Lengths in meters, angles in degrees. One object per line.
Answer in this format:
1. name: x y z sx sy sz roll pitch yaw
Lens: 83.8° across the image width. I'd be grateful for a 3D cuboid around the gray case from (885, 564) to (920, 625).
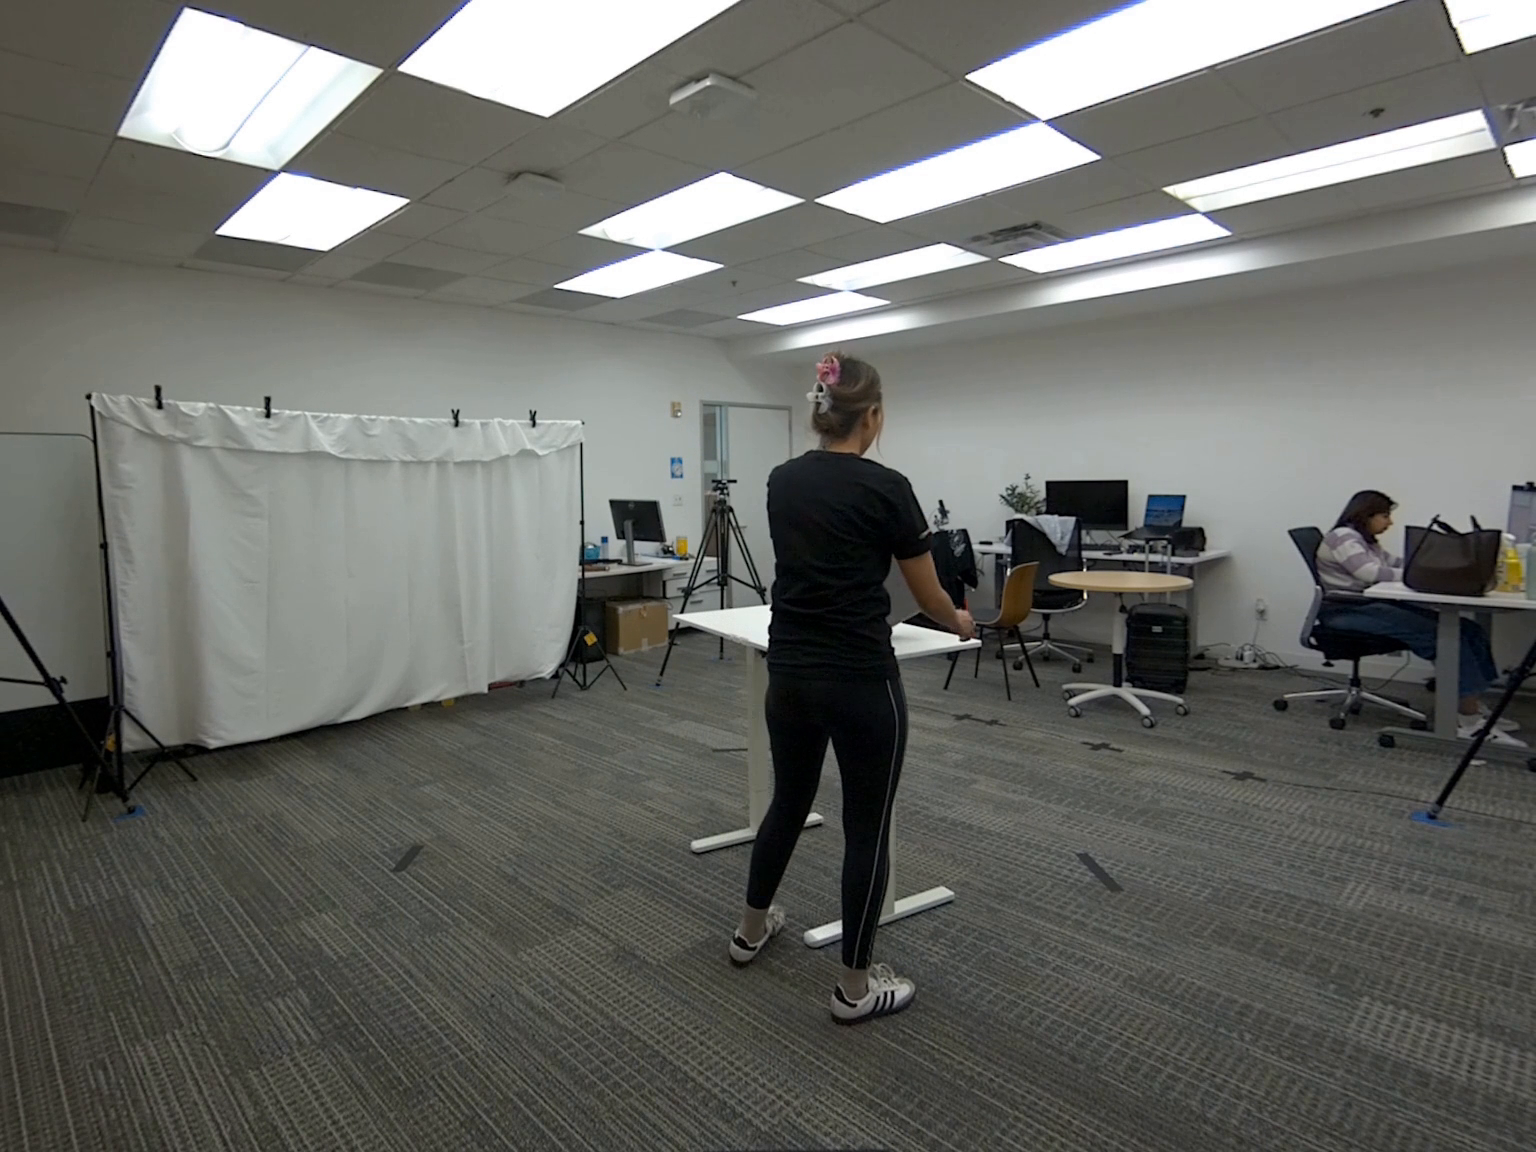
1. gray case: 0.388 0.043 2.745 0.262 0.259 0.103 -29 -6 10
